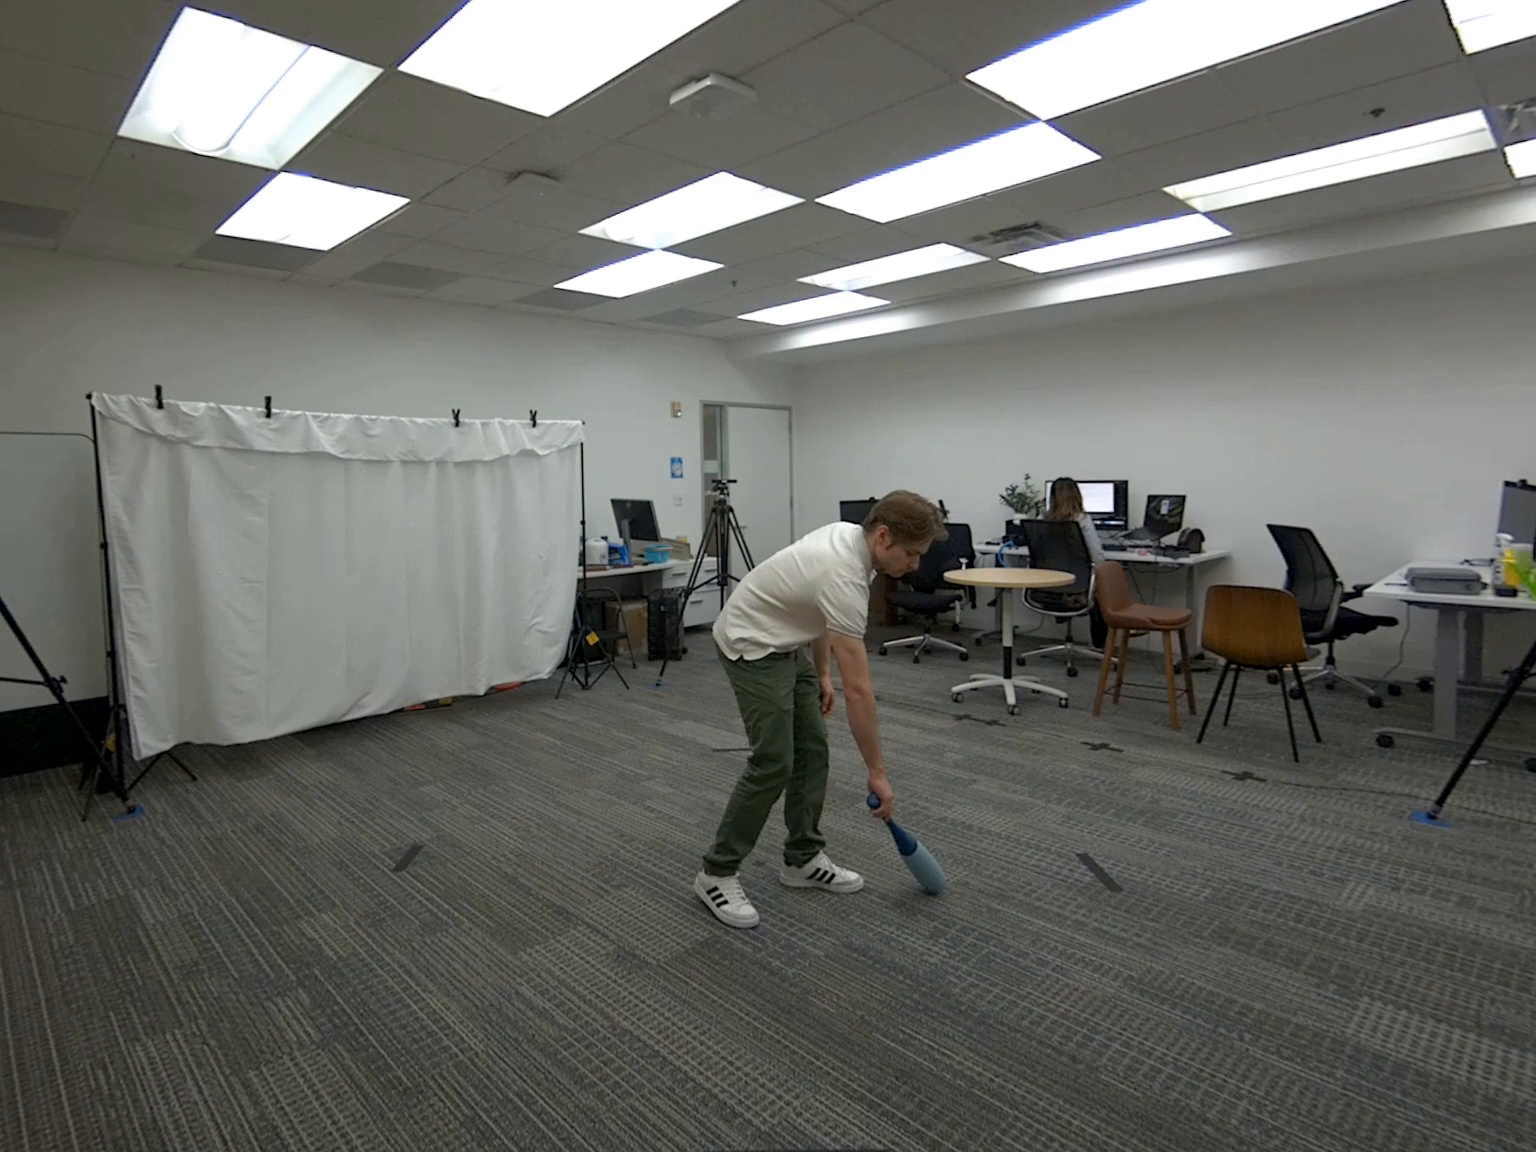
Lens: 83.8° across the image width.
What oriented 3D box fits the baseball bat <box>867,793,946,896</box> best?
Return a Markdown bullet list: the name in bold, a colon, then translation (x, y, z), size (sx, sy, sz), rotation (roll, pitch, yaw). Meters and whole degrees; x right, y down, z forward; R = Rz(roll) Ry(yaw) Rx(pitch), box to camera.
- **baseball bat**: translation (0.439, 0.859, 2.748), size (0.090, 0.524, 0.091), rotation (-24, 36, 18)
